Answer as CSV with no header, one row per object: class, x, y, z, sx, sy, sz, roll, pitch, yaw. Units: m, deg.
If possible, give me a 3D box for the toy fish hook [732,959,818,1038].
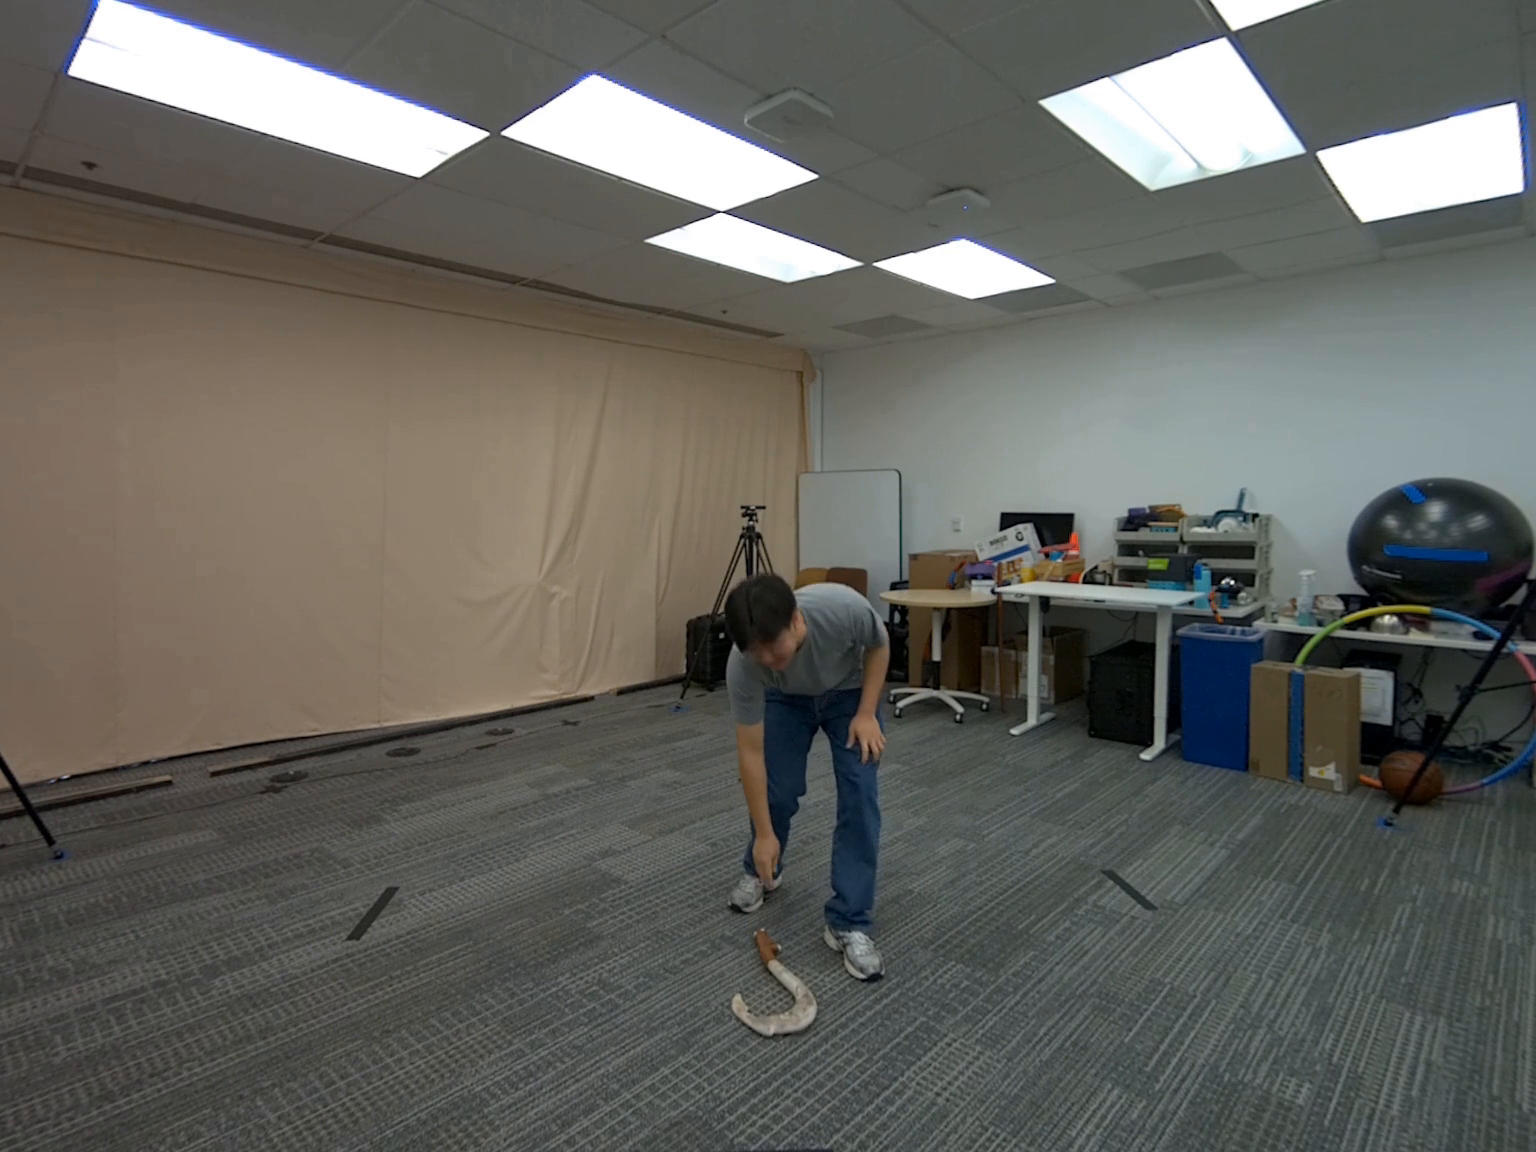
toy fish hook,-0.011,1.156,2.448,0.222,0.048,0.514,0,4,-13
